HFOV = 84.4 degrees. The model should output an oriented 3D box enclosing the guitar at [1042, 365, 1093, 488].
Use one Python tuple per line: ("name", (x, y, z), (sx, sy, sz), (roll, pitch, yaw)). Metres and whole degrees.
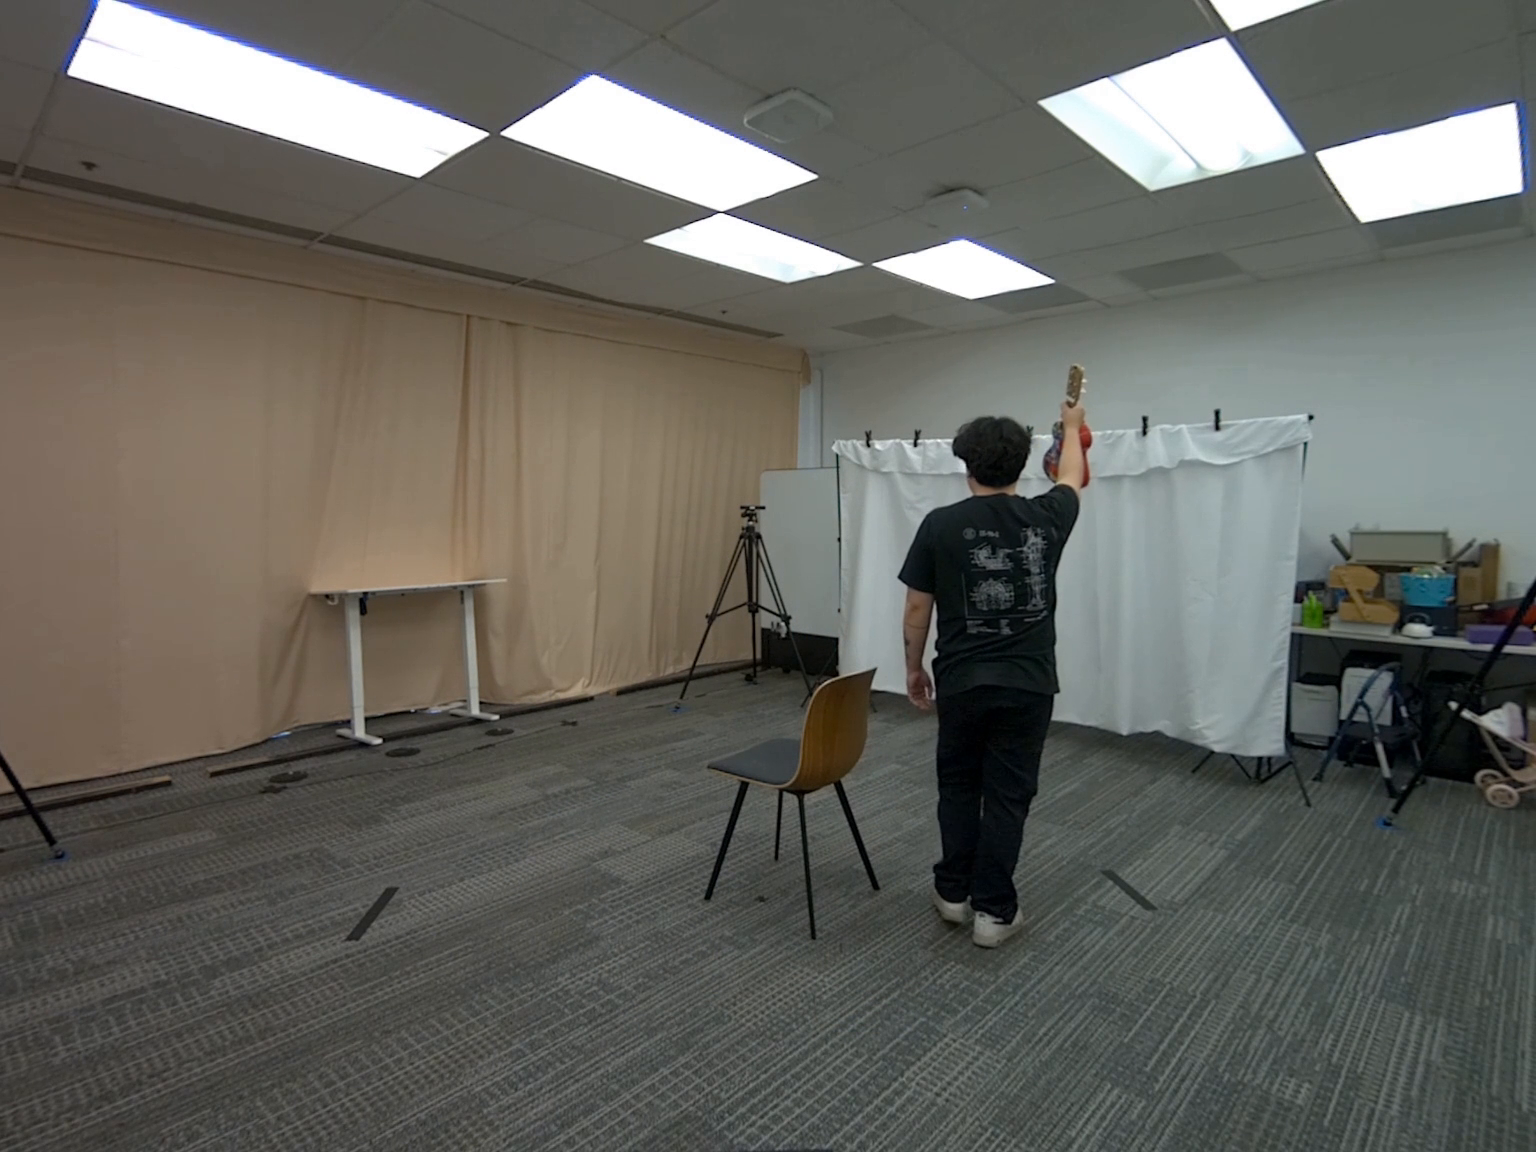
("guitar", (1.110, -0.518, 3.040), (0.070, 0.488, 0.199), (-14, 49, -12))
